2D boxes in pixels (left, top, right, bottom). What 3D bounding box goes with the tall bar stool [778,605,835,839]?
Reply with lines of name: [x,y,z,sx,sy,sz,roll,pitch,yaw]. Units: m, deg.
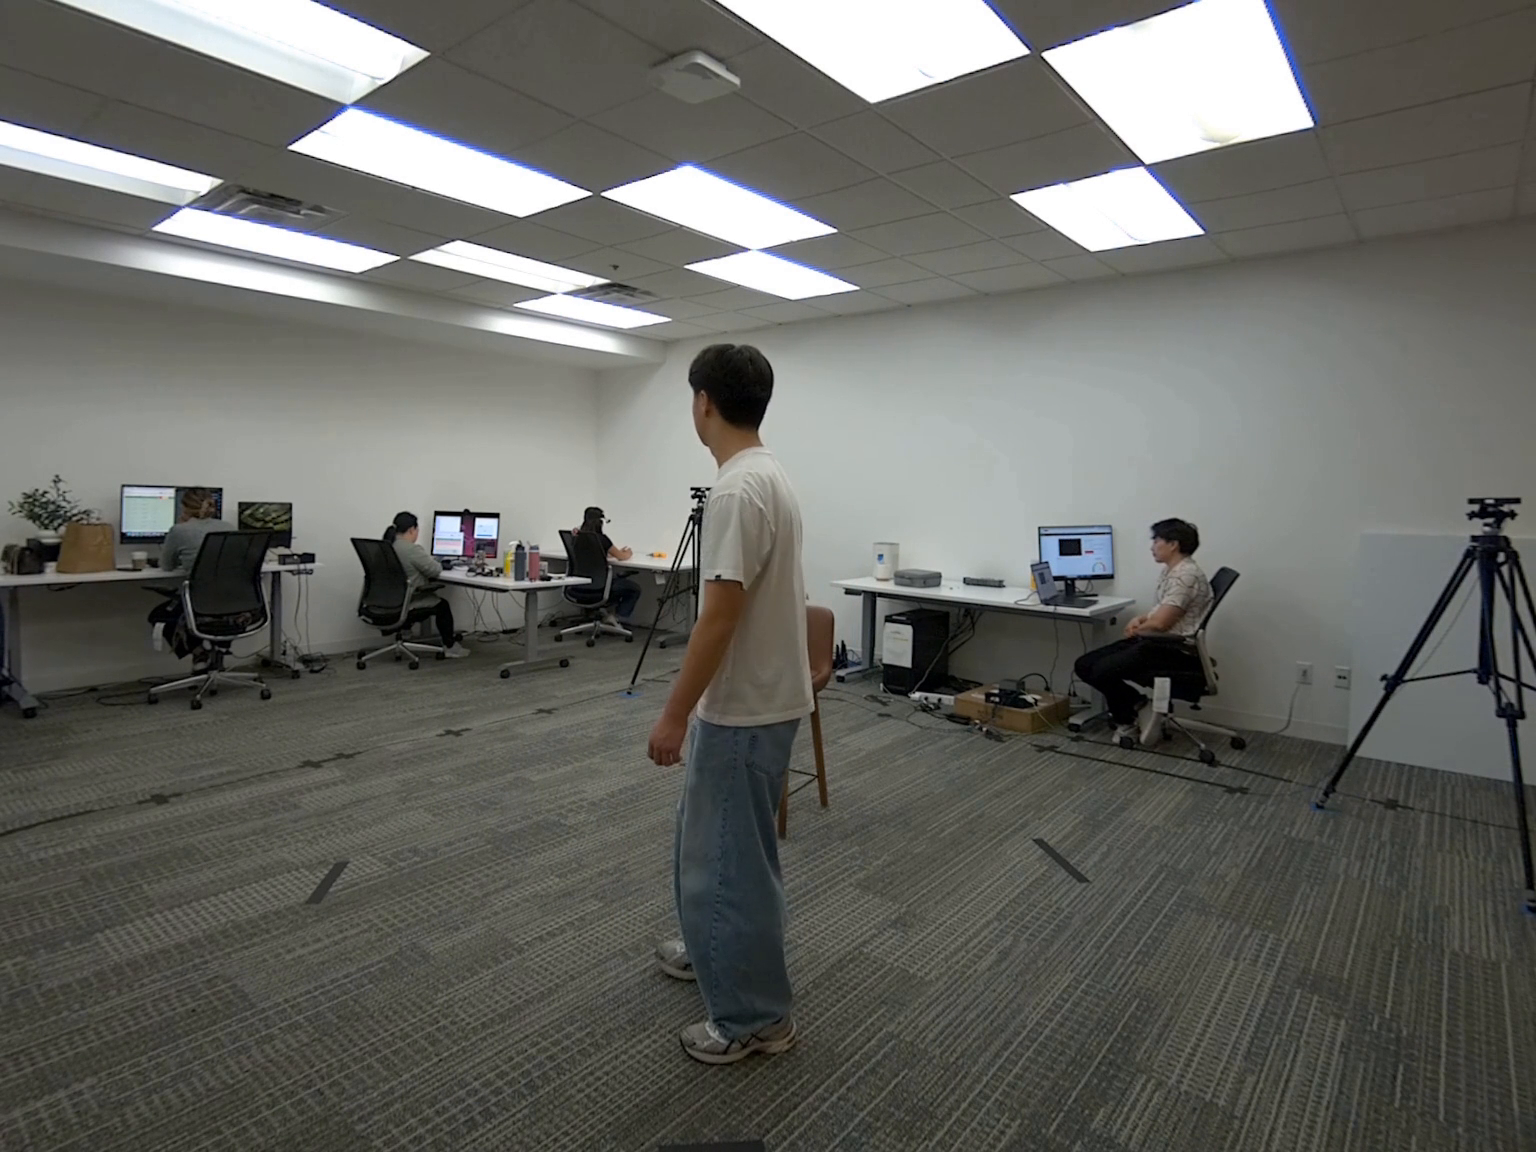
tall bar stool: [0.002,0.579,3.657,0.471,0.889,0.454,4,2,32]
